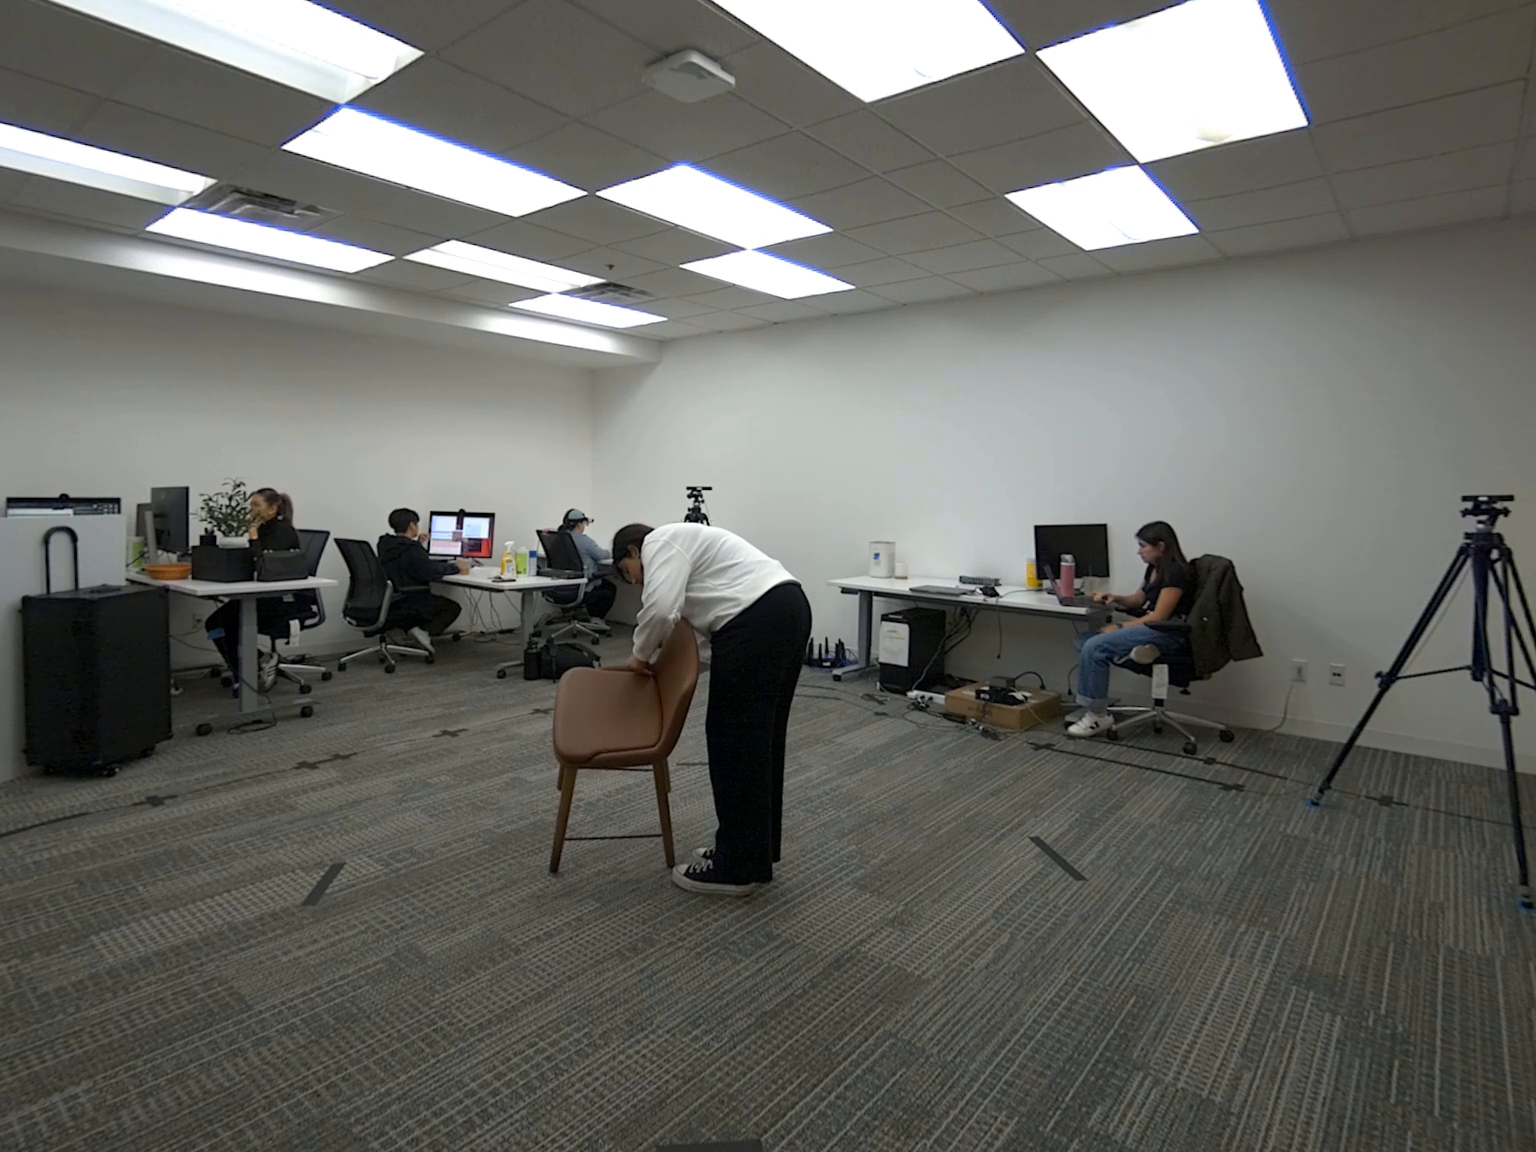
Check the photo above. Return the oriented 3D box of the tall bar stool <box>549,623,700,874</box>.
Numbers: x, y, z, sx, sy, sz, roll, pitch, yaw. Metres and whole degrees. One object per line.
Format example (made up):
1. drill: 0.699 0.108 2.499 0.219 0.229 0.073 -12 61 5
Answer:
1. tall bar stool: -0.530 0.597 3.023 0.462 0.872 0.471 5 31 -11
